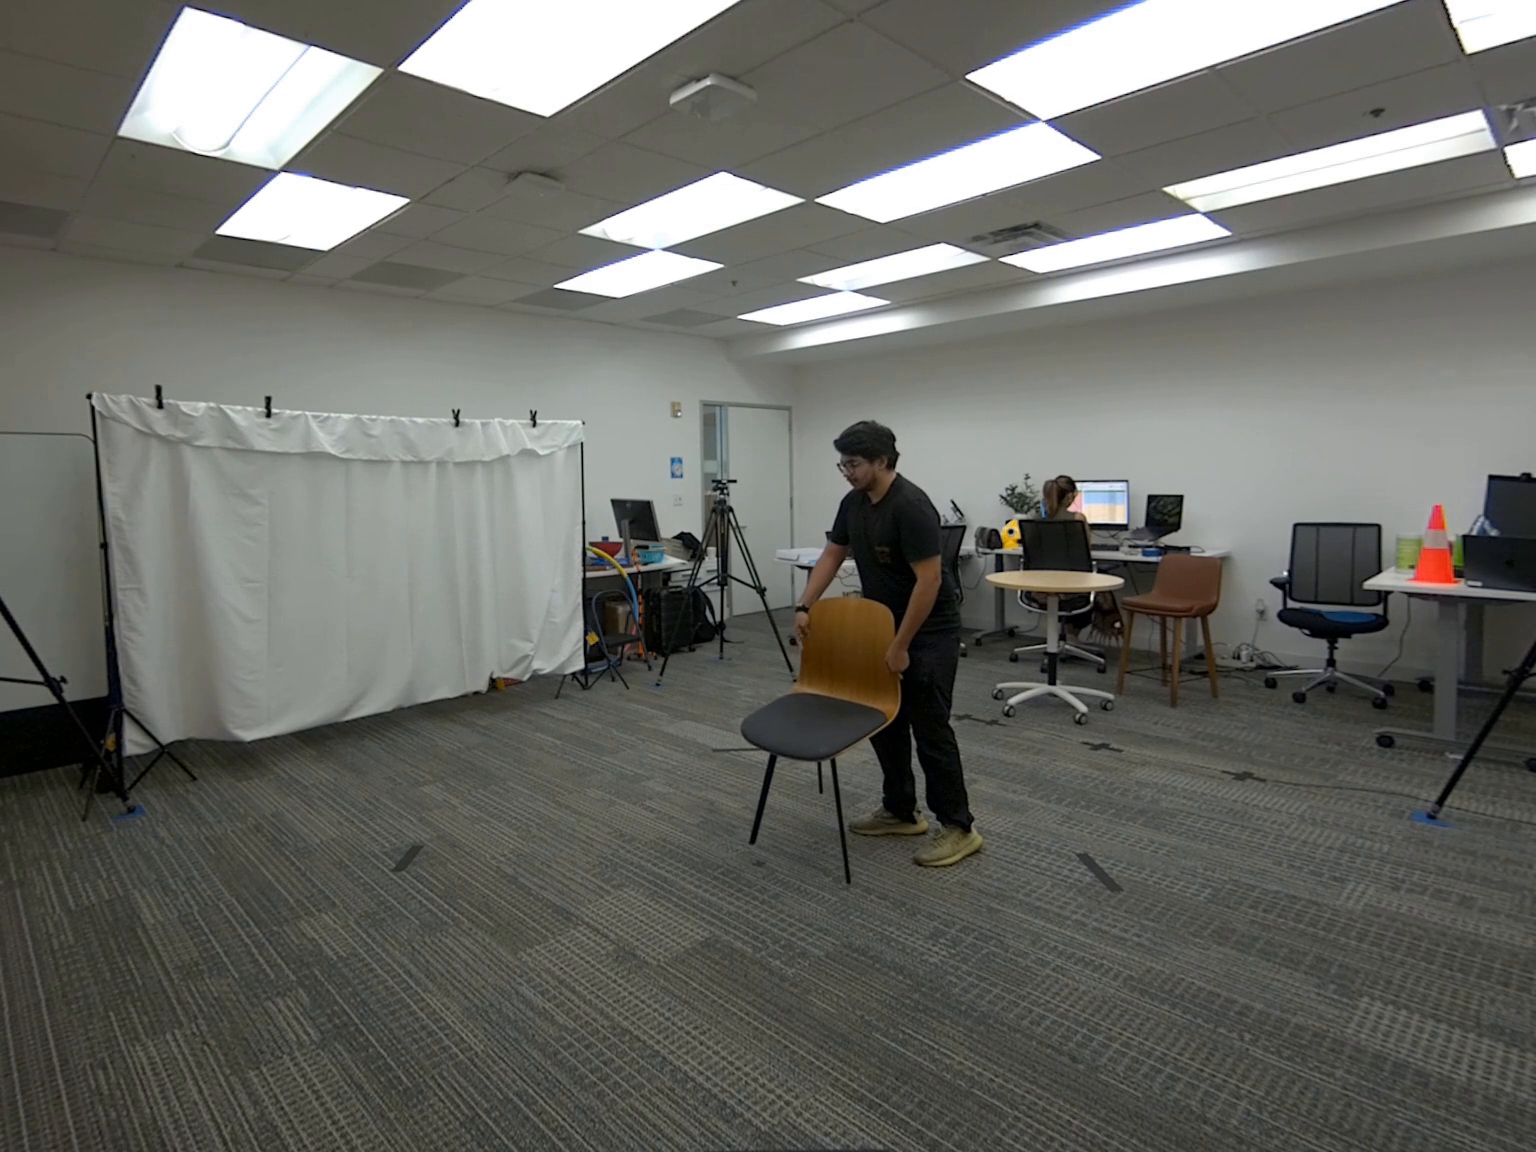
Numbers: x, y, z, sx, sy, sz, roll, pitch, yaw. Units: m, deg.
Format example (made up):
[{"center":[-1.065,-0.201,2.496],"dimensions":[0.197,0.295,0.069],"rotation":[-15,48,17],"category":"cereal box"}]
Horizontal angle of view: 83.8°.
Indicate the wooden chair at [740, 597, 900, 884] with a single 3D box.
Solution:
[{"center":[0.193,0.559,3.103],"dimensions":[0.493,0.870,0.511],"rotation":[5,12,41],"category":"wooden chair"}]
